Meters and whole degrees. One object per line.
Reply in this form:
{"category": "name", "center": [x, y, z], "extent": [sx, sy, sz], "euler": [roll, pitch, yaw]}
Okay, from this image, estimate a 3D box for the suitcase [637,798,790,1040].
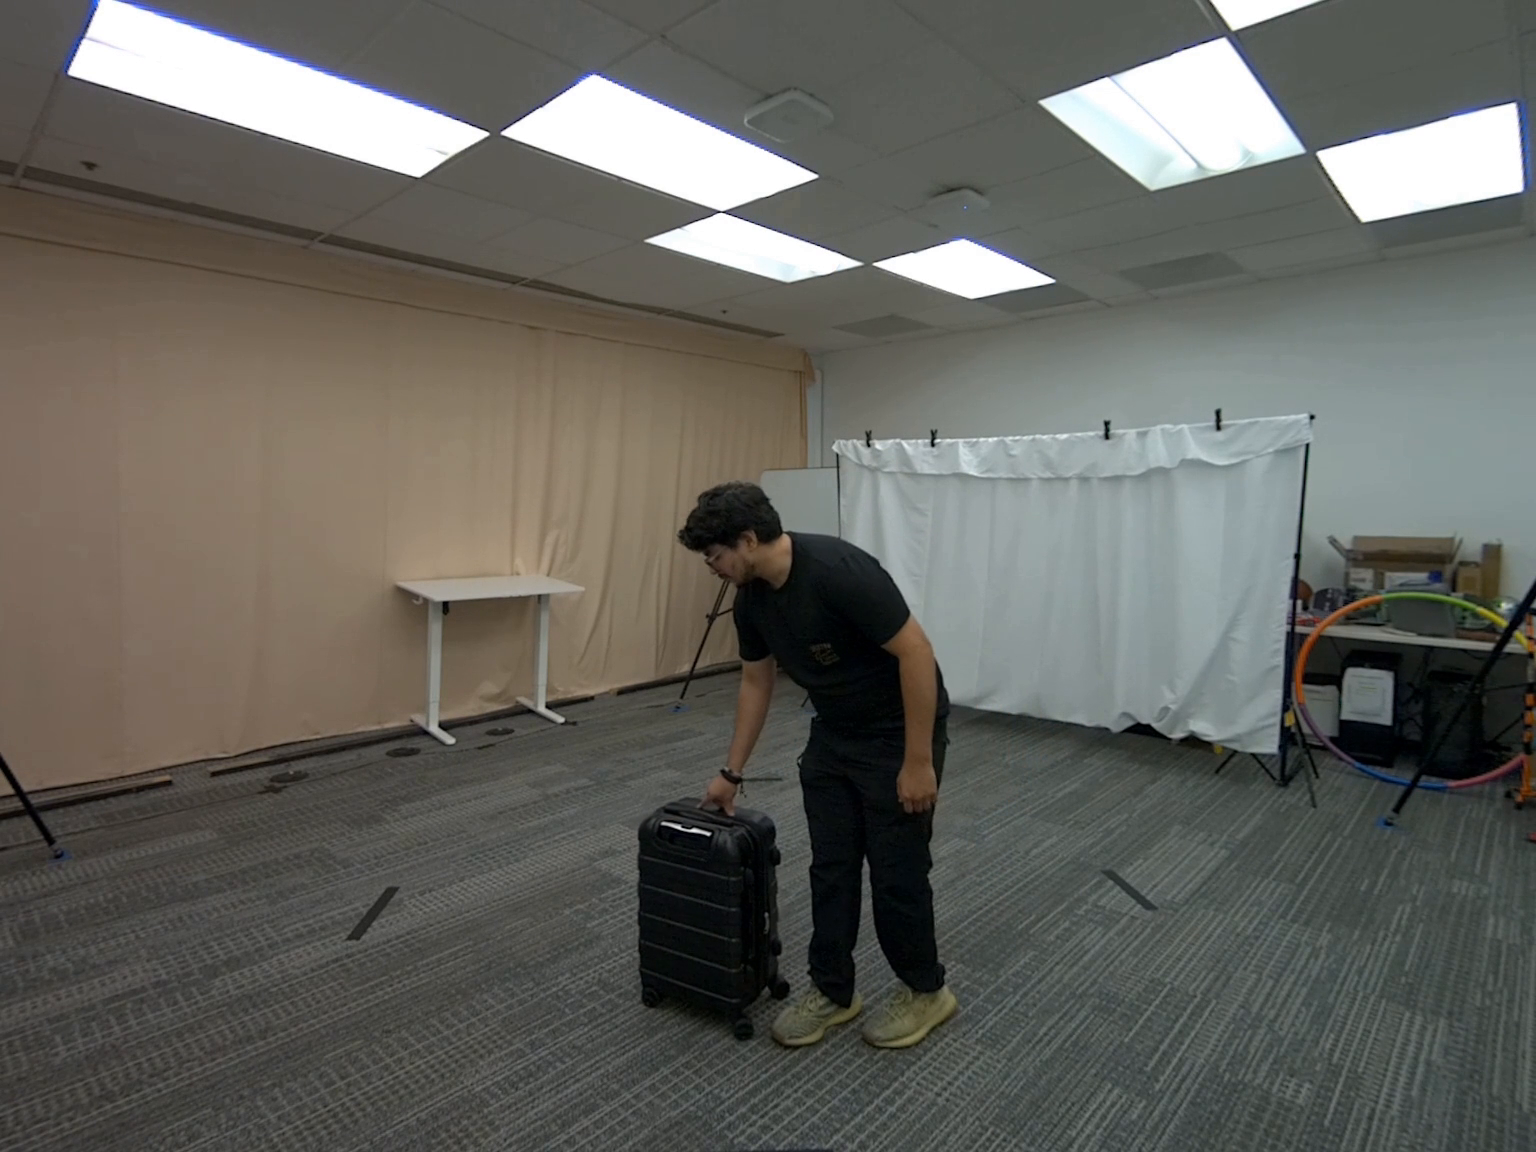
{"category": "suitcase", "center": [-0.169, 0.924, 2.361], "extent": [0.386, 0.548, 0.242], "euler": [1, 3, 30]}
